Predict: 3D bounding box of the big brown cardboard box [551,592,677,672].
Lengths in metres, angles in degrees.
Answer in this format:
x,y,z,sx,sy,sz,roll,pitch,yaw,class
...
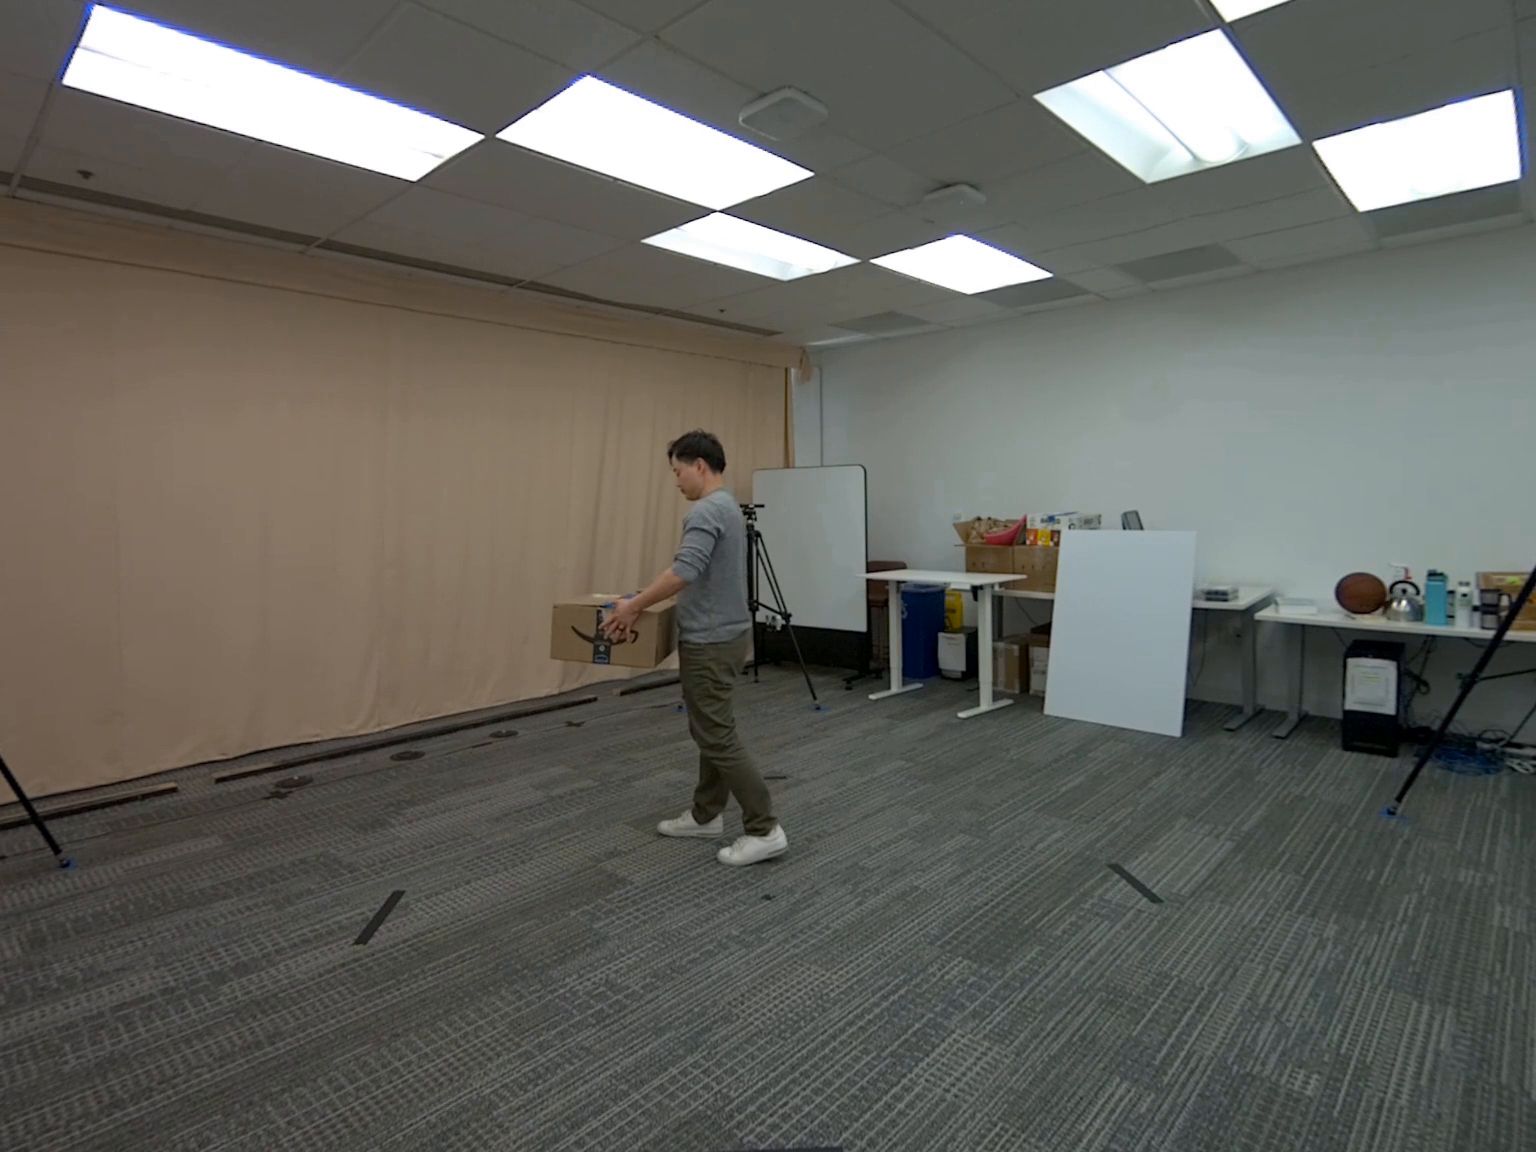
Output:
x,y,z,sx,sy,sz,roll,pitch,yaw,class
-0.613,0.214,3.475,0.418,0.233,0.589,1,4,0,big brown cardboard box
